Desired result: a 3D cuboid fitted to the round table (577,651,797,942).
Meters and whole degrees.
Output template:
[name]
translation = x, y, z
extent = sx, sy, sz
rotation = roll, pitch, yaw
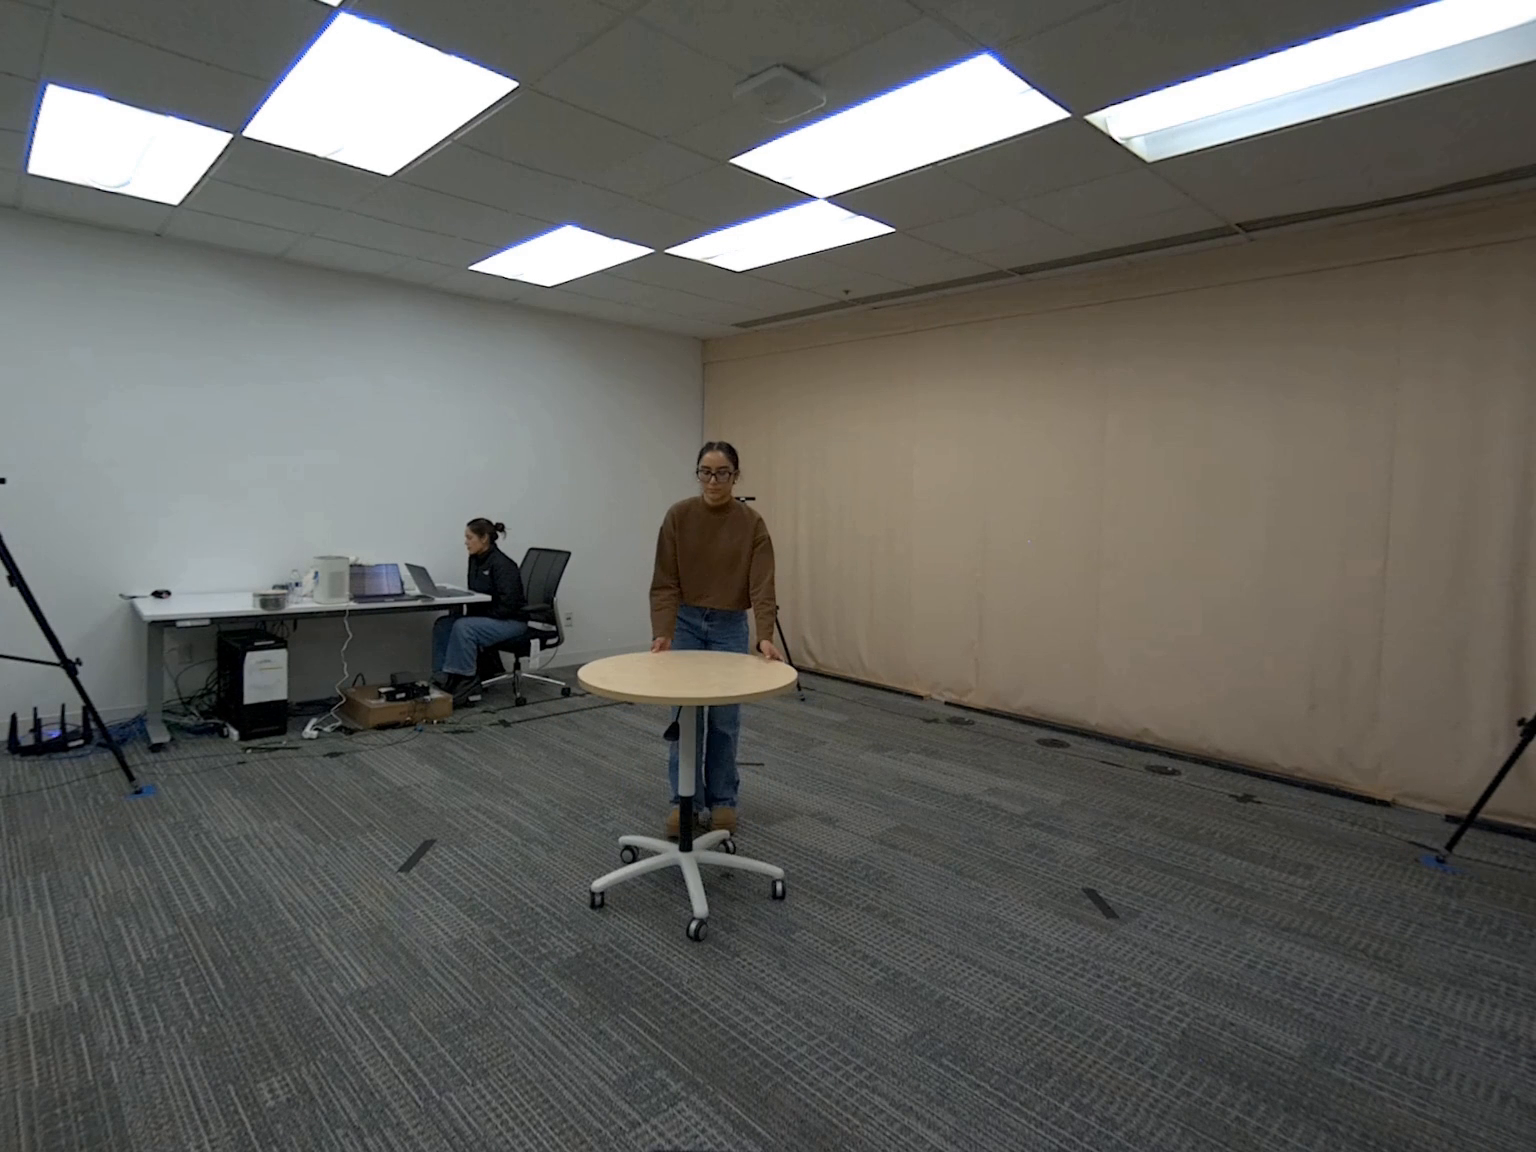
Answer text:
[round table]
translation = -0.295, 0.727, 2.952
extent = 0.784, 0.785, 0.787
rotation = 1, 3, -1
